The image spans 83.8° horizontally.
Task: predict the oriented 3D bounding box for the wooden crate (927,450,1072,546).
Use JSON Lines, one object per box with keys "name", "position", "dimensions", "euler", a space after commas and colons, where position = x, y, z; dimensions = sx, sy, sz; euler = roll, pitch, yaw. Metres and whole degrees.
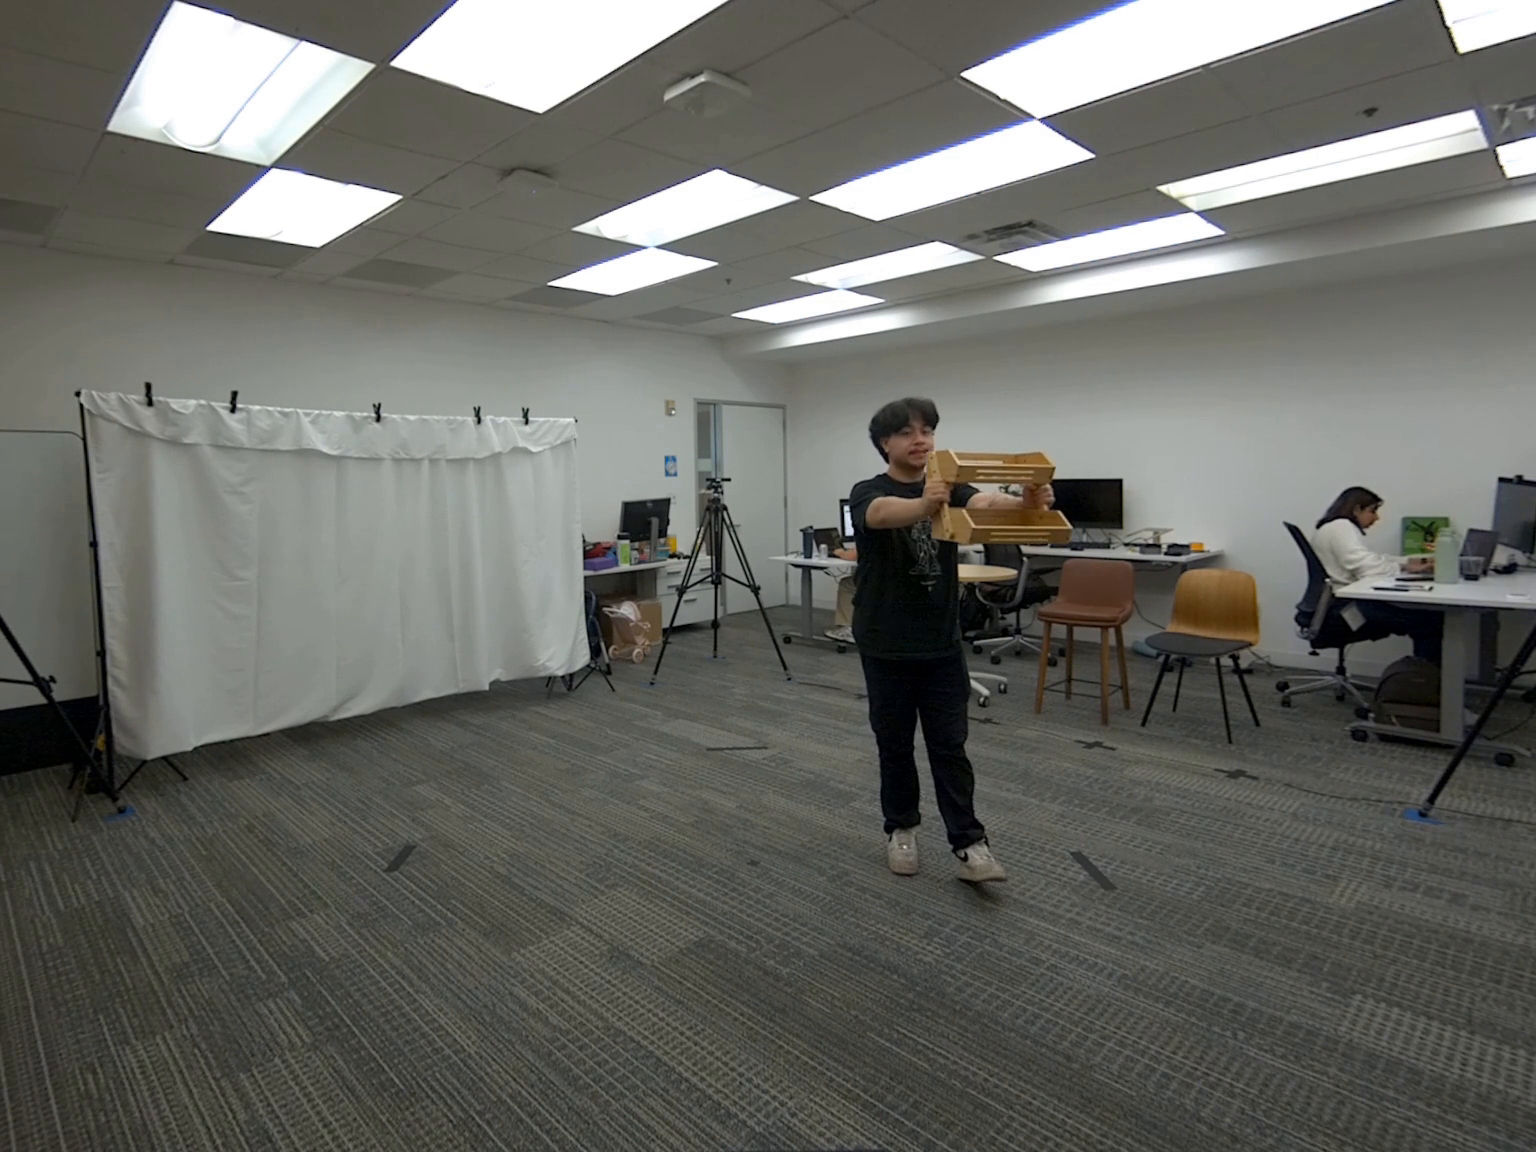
{"name": "wooden crate", "position": [0.669, -0.235, 2.468], "dimensions": [0.321, 0.272, 0.306], "euler": [0, 4, -13]}
